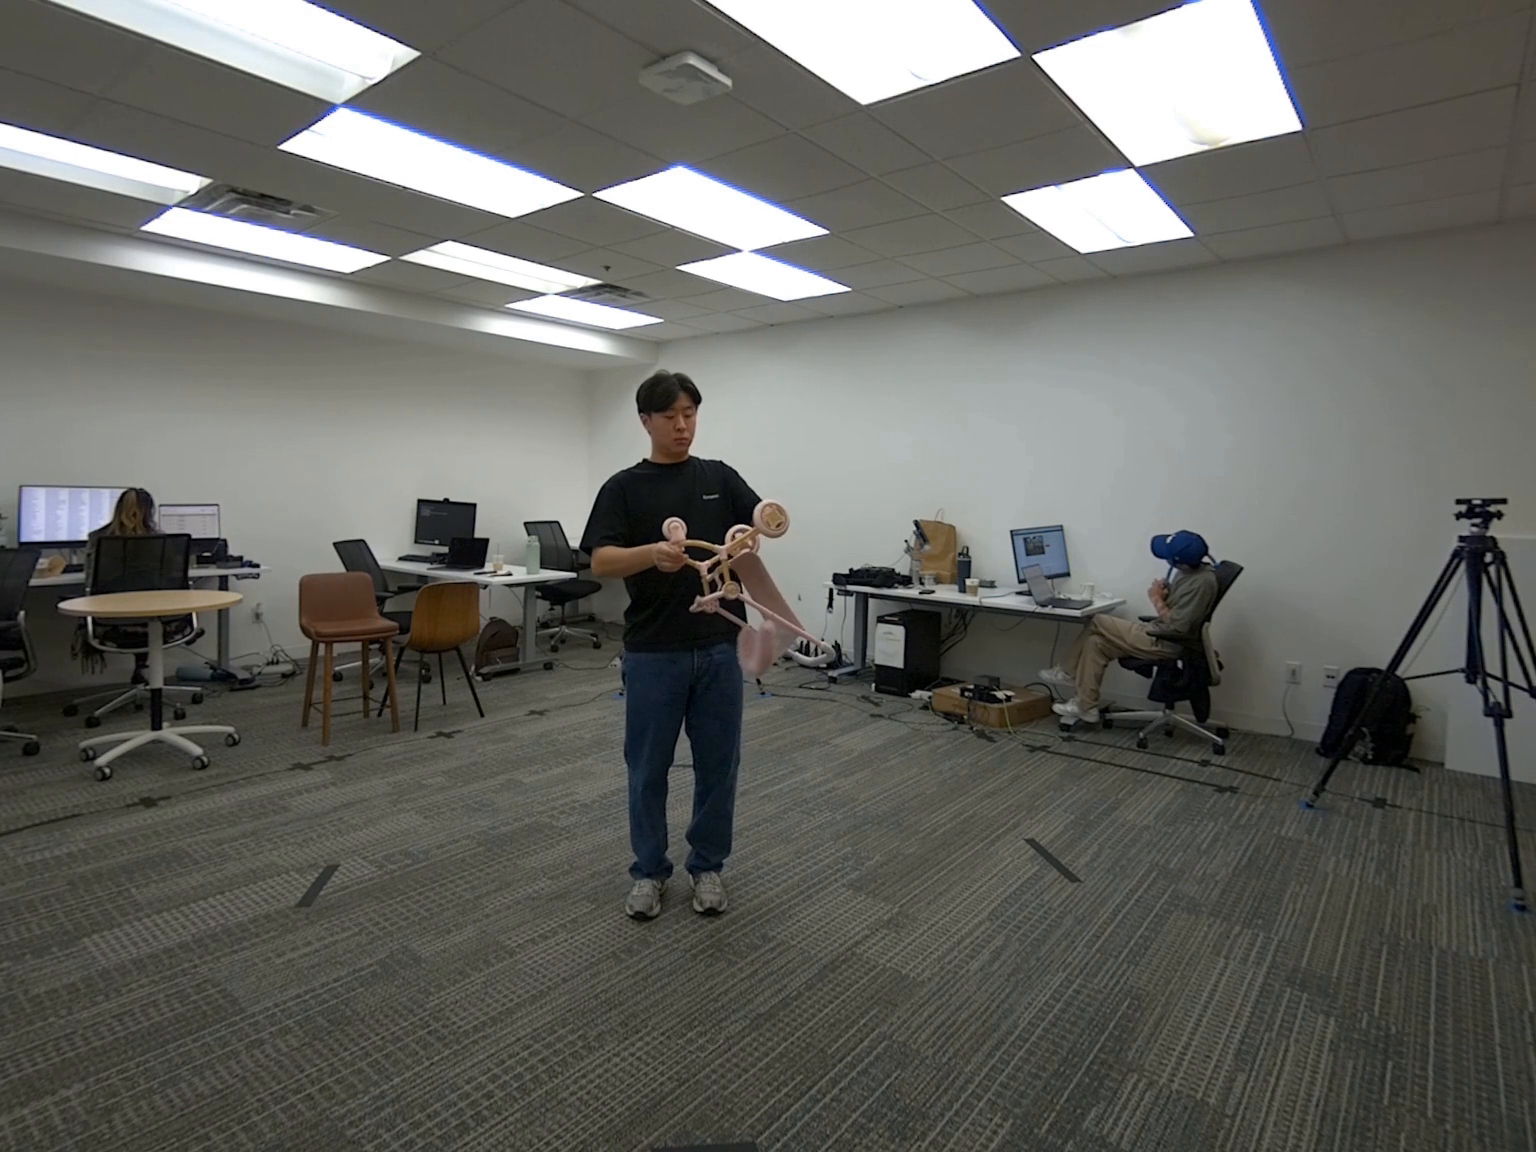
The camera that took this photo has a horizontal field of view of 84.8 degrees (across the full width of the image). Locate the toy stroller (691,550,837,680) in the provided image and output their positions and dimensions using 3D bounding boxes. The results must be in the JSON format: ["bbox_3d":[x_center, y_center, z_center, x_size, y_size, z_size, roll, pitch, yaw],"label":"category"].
[{"bbox_3d":[-0.077,0.041,2.421,0.335,0.540,0.283,-19,-8,-28],"label":"toy stroller"}]
